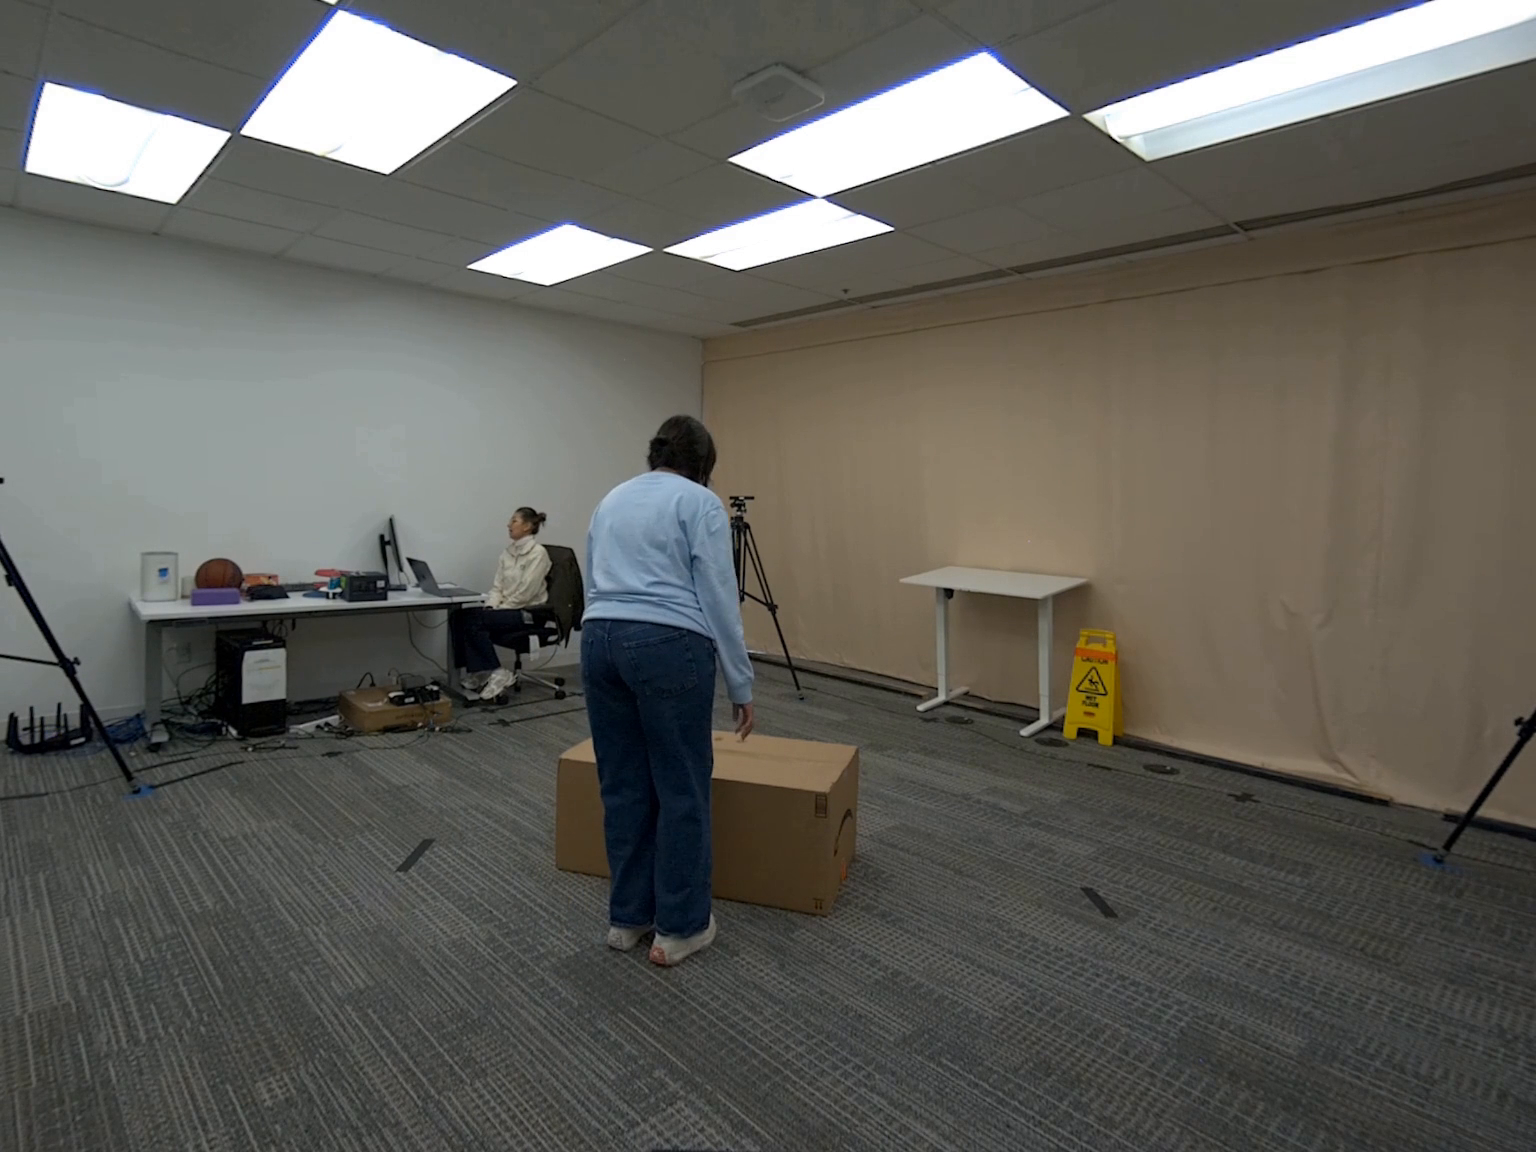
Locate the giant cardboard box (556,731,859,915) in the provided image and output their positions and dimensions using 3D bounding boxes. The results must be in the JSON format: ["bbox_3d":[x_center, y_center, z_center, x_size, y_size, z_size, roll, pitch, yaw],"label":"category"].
[{"bbox_3d":[-0.216,0.875,3.216,1.041,0.425,0.571,3,5,17],"label":"giant cardboard box"}]
